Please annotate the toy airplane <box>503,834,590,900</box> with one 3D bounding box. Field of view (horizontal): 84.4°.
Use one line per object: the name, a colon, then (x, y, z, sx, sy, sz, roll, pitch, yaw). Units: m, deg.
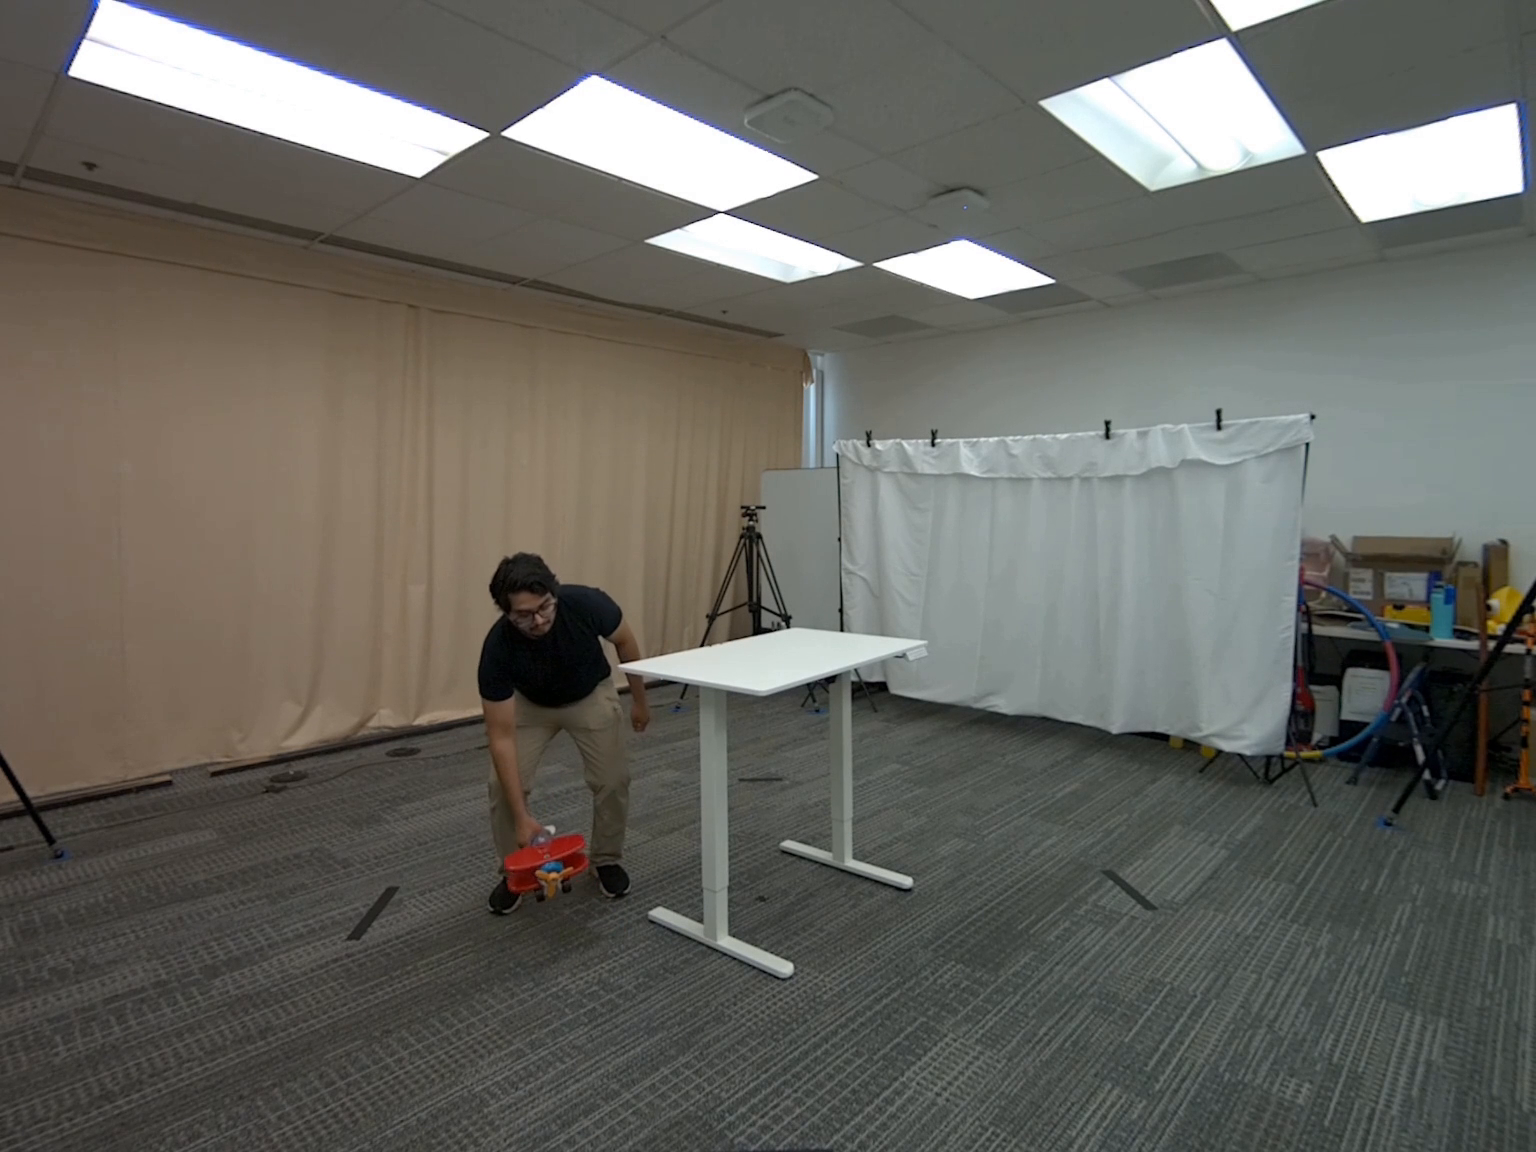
toy airplane: (-0.719, 0.897, 2.675, 0.268, 0.154, 0.247, 26, 42, 29)
